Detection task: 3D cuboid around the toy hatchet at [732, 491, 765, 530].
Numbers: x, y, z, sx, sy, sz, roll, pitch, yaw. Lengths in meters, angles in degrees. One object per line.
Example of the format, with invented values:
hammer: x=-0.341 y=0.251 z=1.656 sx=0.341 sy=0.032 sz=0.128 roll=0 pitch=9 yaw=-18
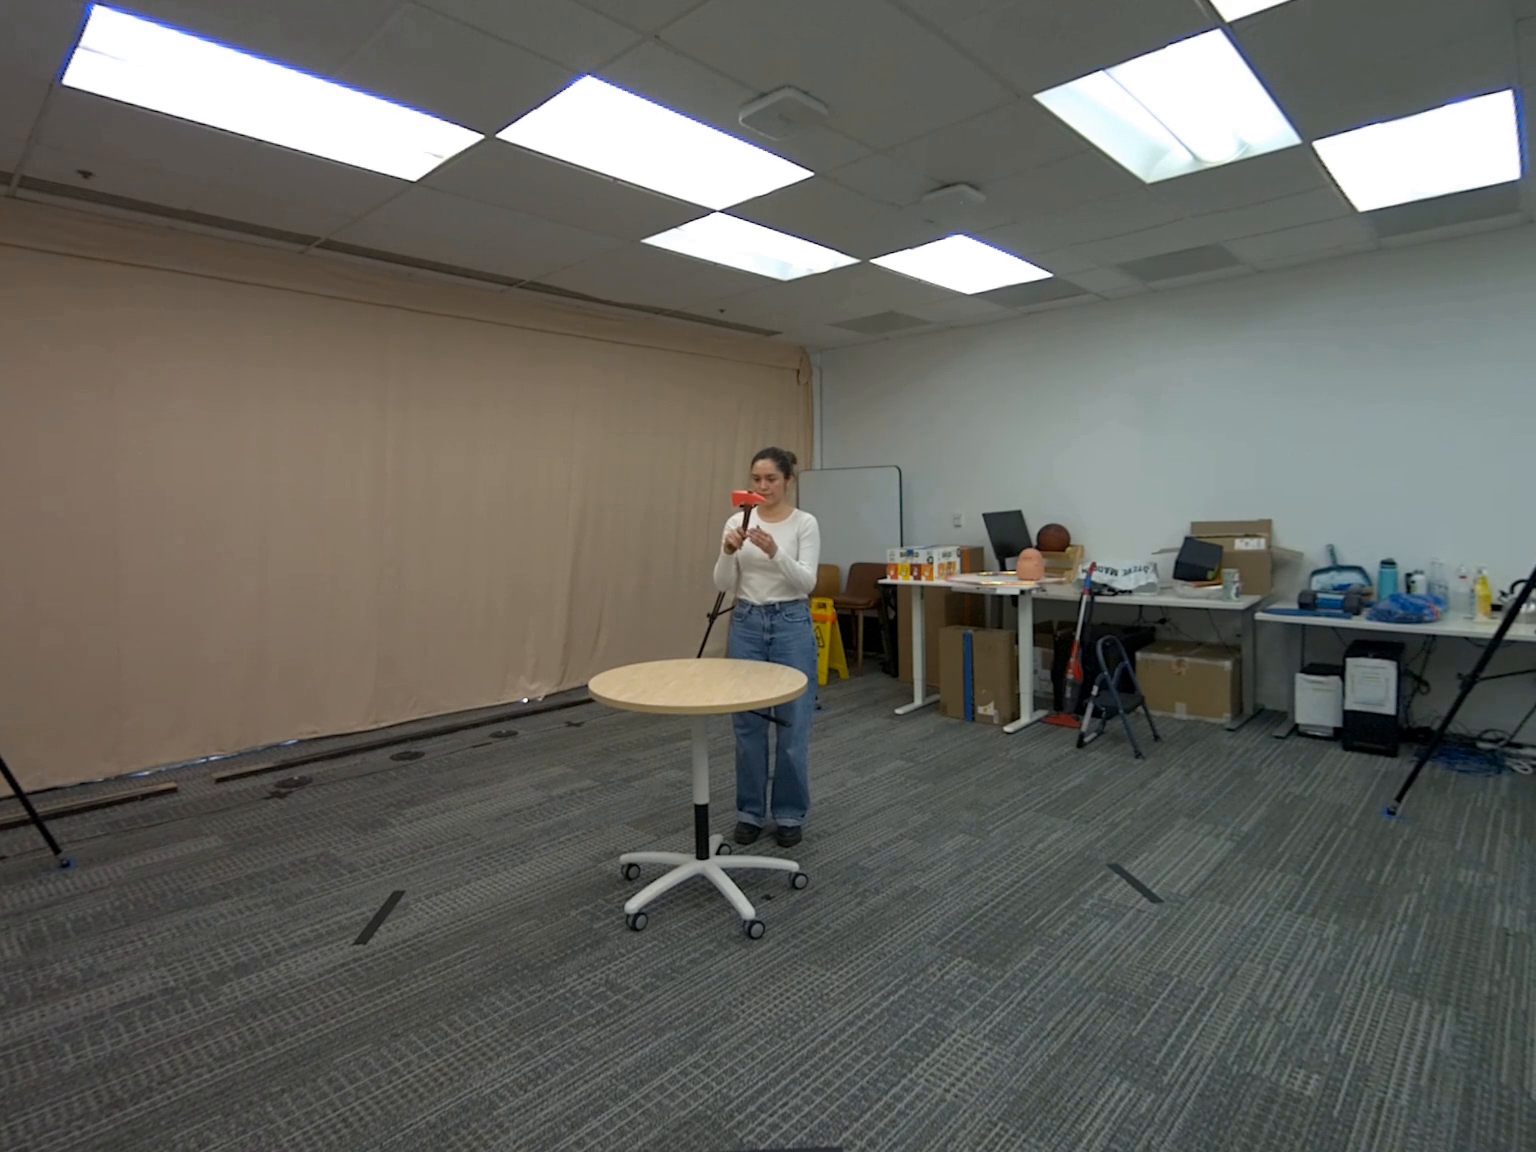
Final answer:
toy hatchet: x=-0.119 y=-0.222 z=3.267 sx=0.131 sy=0.270 sz=0.029 roll=30 pitch=31 yaw=0
